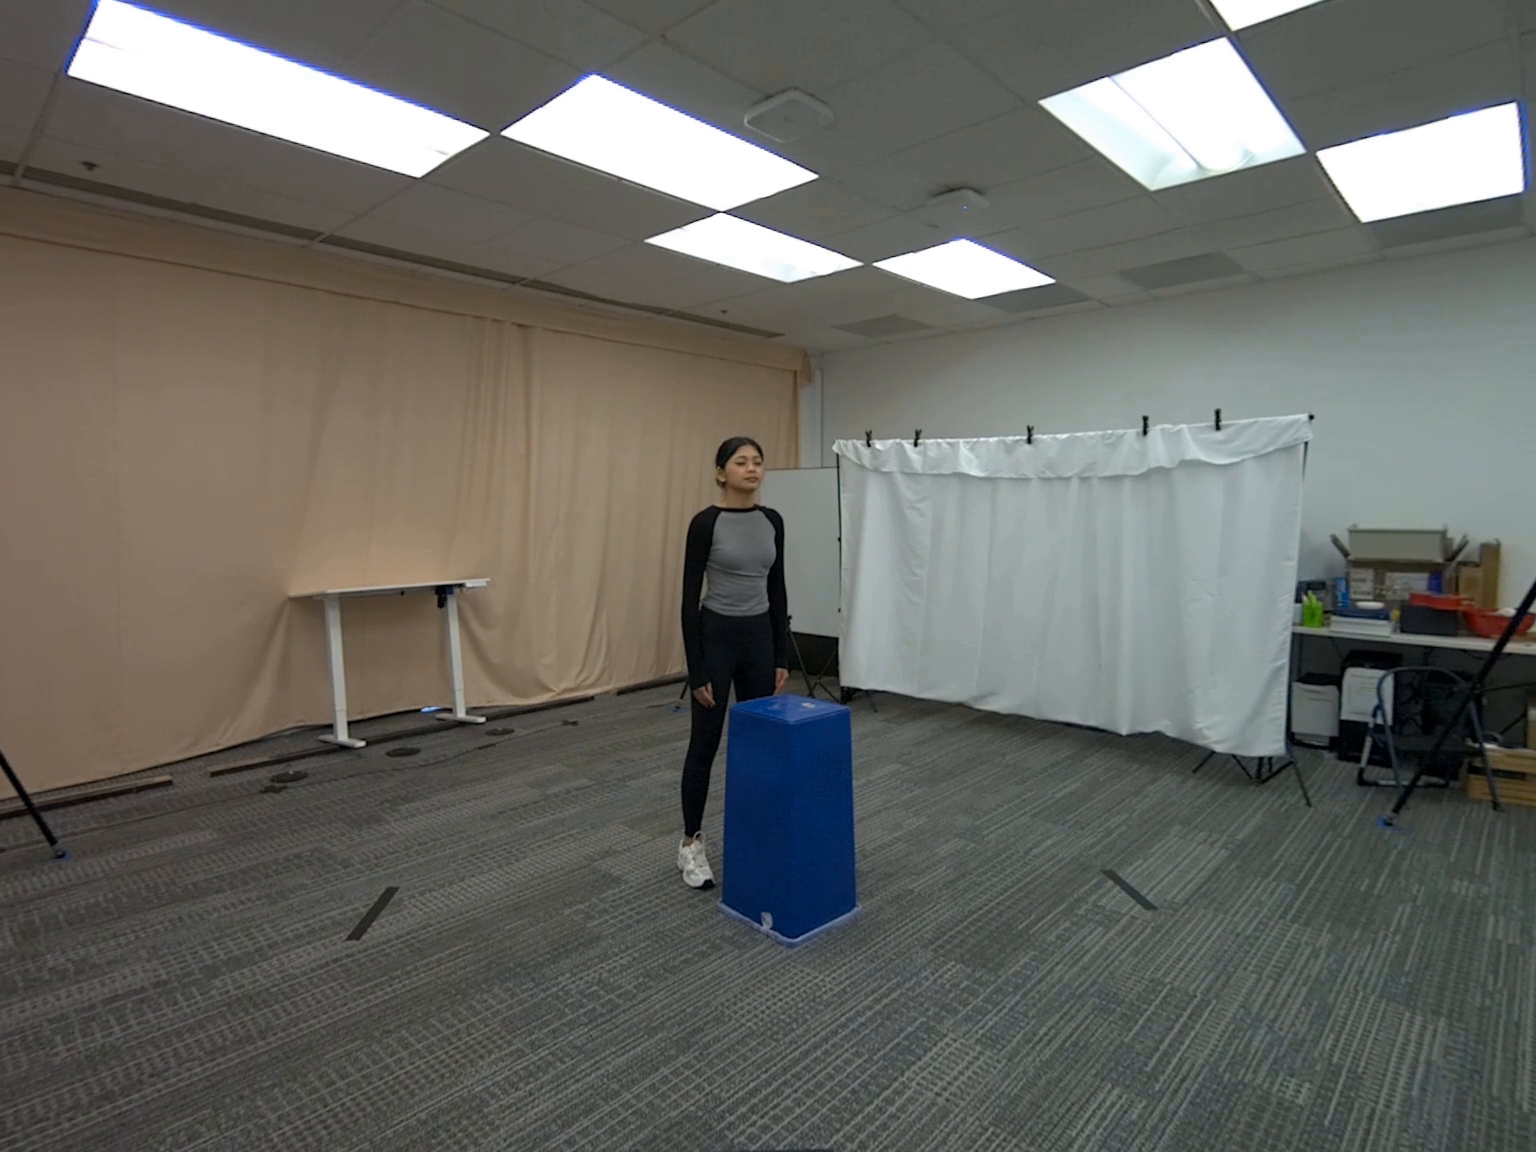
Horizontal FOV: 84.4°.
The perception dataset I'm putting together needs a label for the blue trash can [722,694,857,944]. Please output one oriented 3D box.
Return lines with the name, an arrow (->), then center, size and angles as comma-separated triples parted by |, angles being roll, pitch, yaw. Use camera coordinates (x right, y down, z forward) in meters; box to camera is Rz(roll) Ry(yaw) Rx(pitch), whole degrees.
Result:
blue trash can -> 0.085, 0.800, 2.880 | 0.362, 0.712, 0.391 | -2, 5, -43
